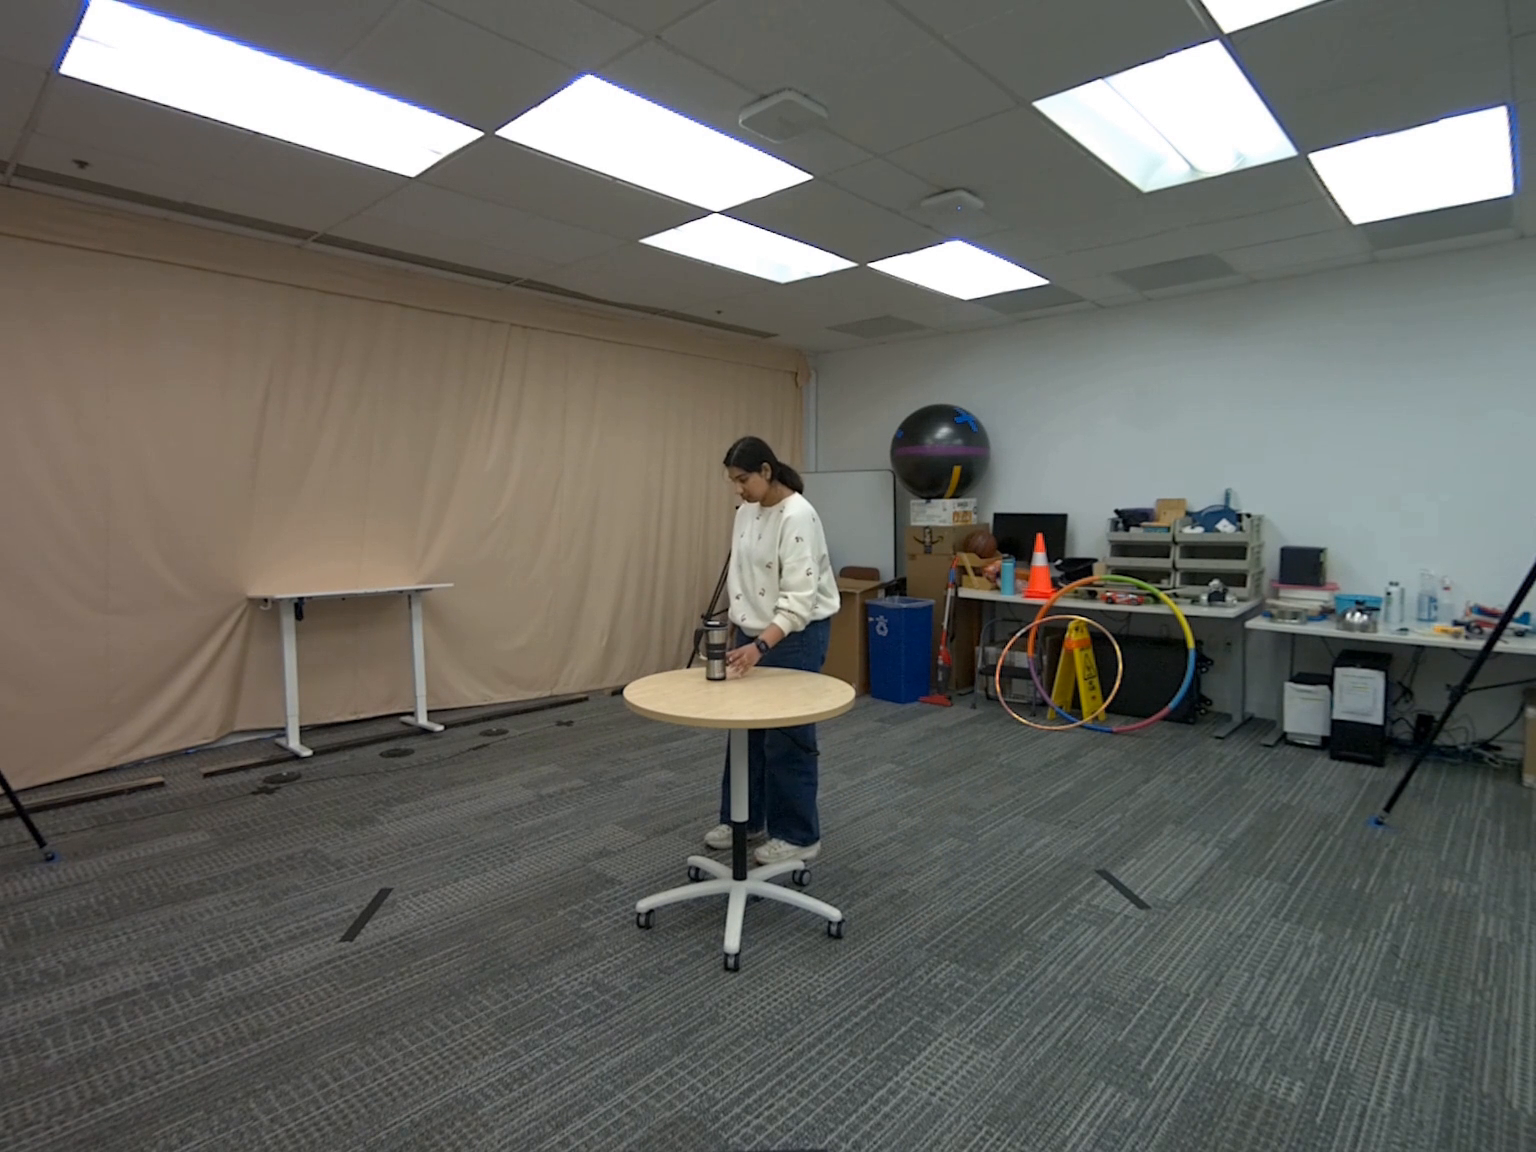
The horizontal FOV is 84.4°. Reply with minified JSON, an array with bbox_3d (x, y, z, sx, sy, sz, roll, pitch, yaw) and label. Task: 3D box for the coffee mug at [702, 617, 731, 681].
[{"bbox_3d":[-0.176,0.261,2.965,0.090,0.203,0.119,-4,2,22],"label":"coffee mug"}]
